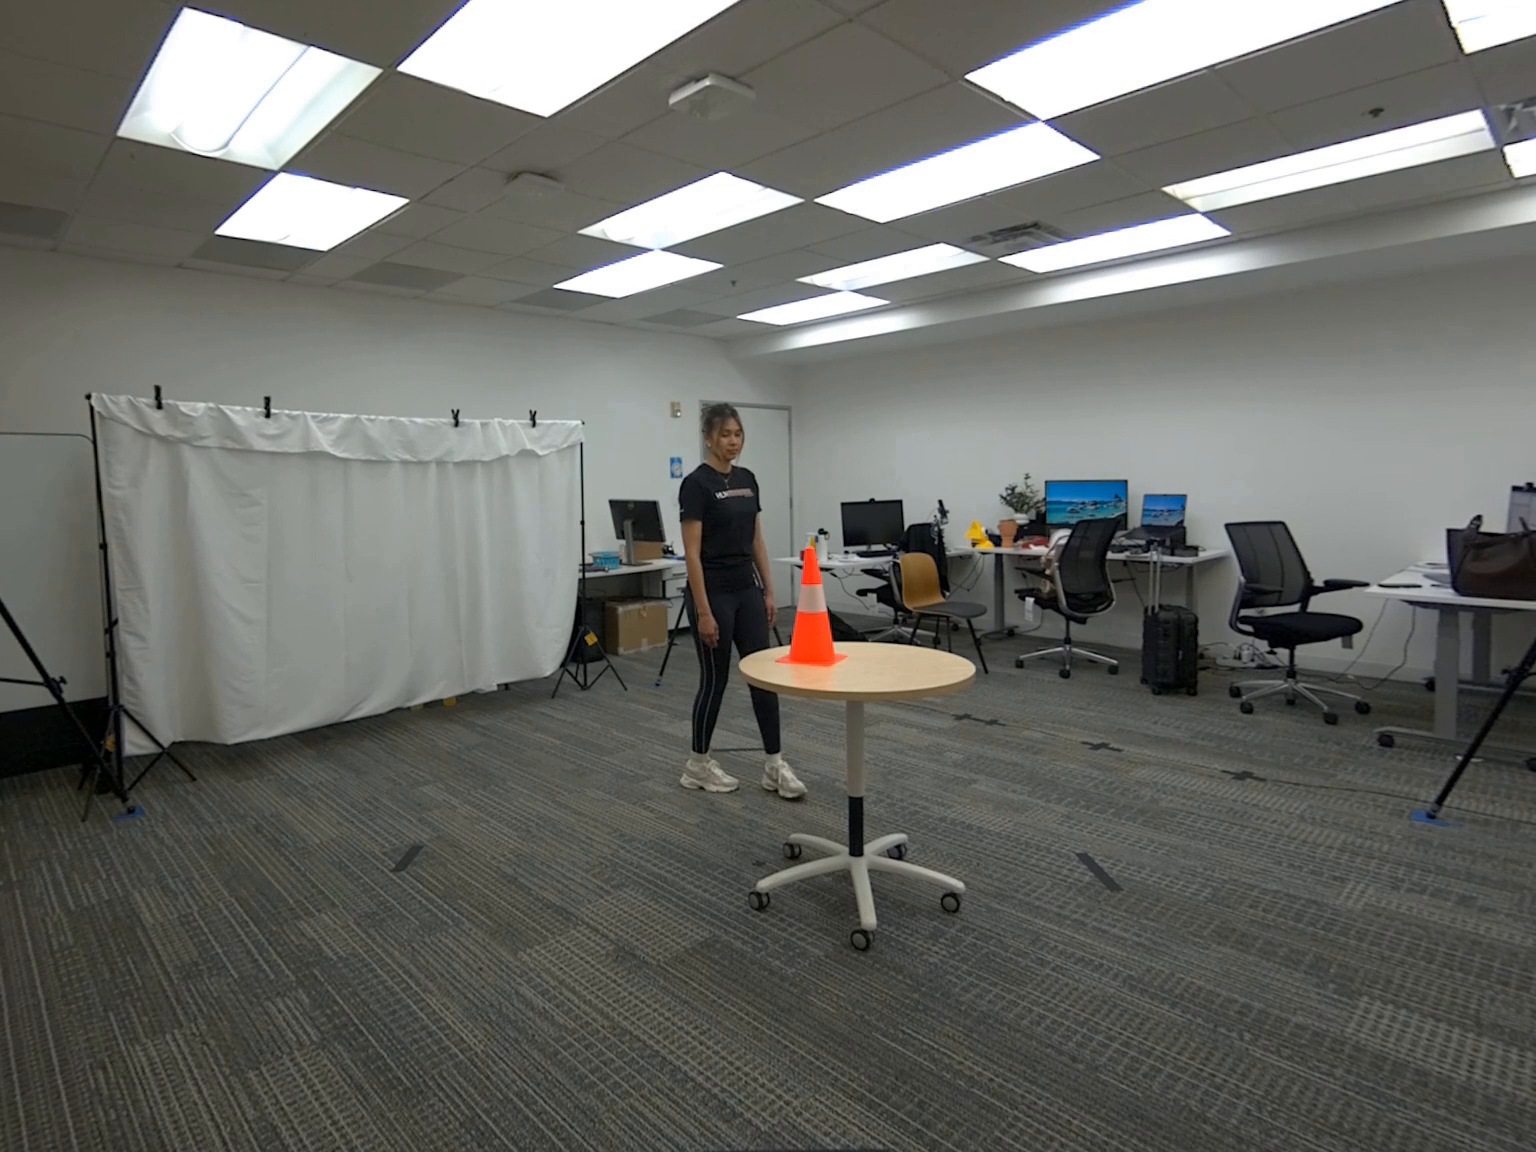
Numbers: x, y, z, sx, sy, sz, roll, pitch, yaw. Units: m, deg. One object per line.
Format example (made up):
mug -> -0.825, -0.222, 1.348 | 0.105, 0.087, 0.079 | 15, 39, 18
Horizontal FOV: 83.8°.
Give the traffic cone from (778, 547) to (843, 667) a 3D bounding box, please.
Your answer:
traffic cone -> 0.153, 0.098, 2.894 | 0.210, 0.381, 0.199 | 1, 7, 28
